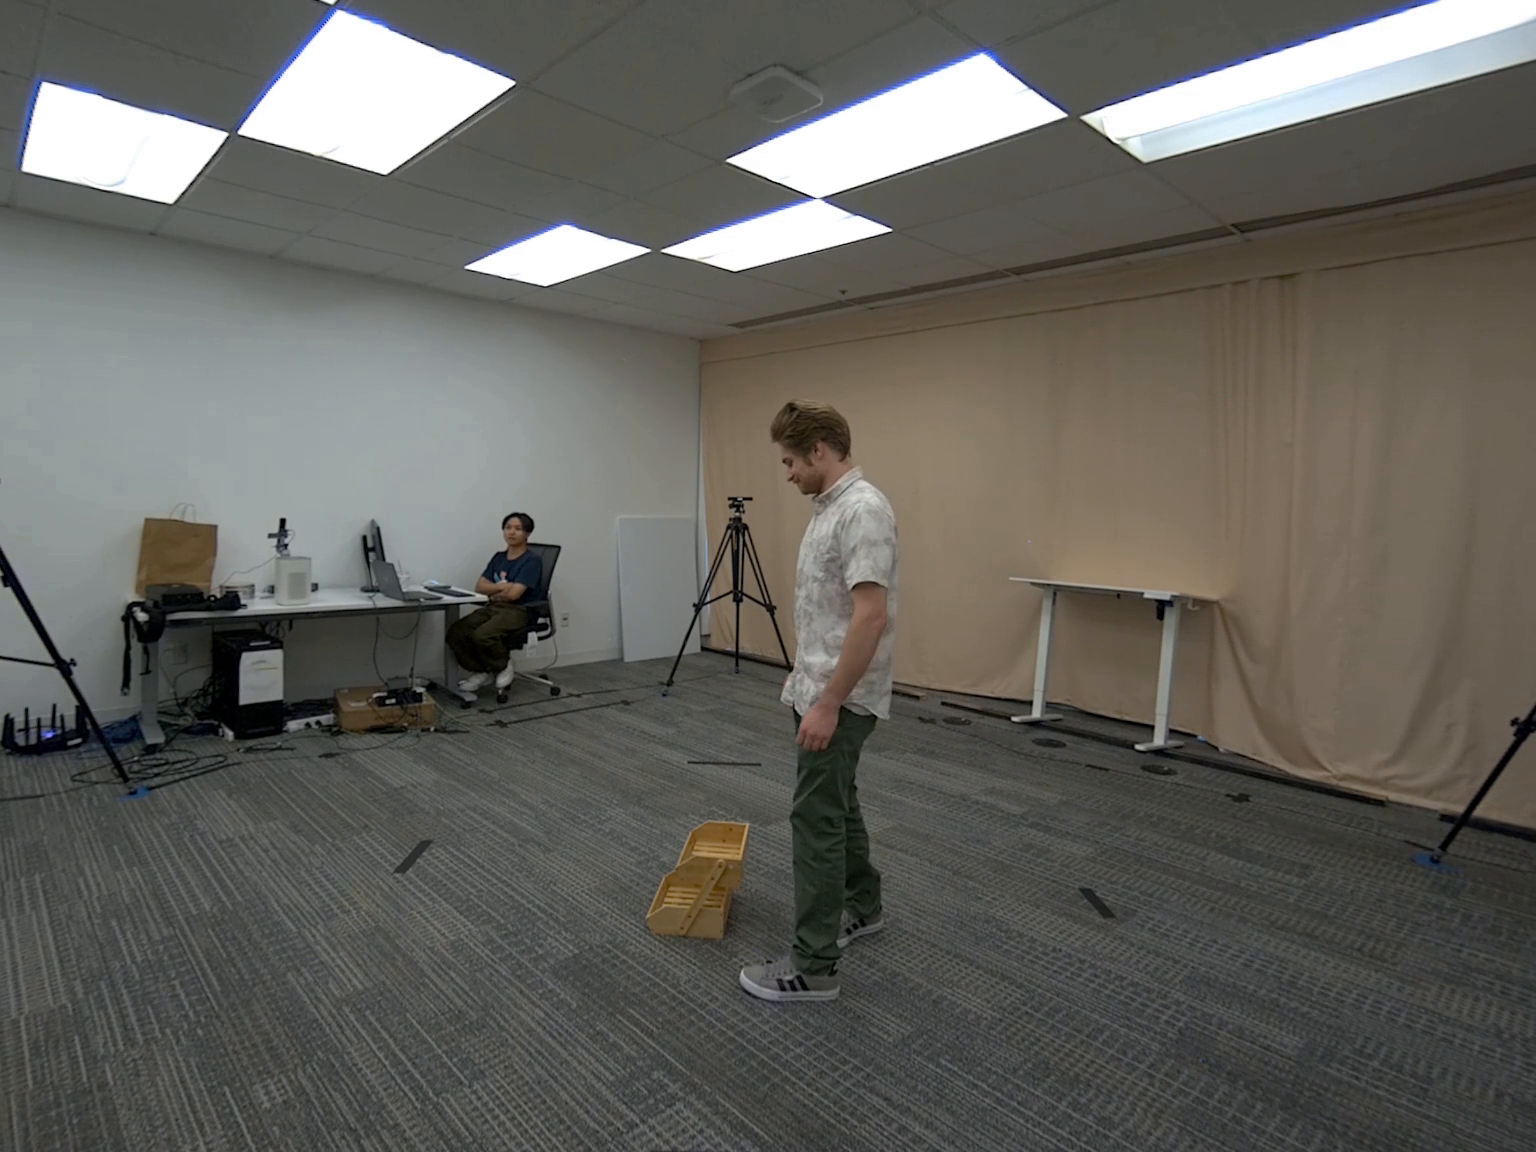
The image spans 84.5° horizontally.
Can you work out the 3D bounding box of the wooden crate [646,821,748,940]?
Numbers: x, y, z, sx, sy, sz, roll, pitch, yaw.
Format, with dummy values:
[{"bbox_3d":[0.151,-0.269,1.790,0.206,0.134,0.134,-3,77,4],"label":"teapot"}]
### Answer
[{"bbox_3d":[-0.239,1.005,2.807,0.303,0.272,0.324,1,4,4],"label":"wooden crate"}]
